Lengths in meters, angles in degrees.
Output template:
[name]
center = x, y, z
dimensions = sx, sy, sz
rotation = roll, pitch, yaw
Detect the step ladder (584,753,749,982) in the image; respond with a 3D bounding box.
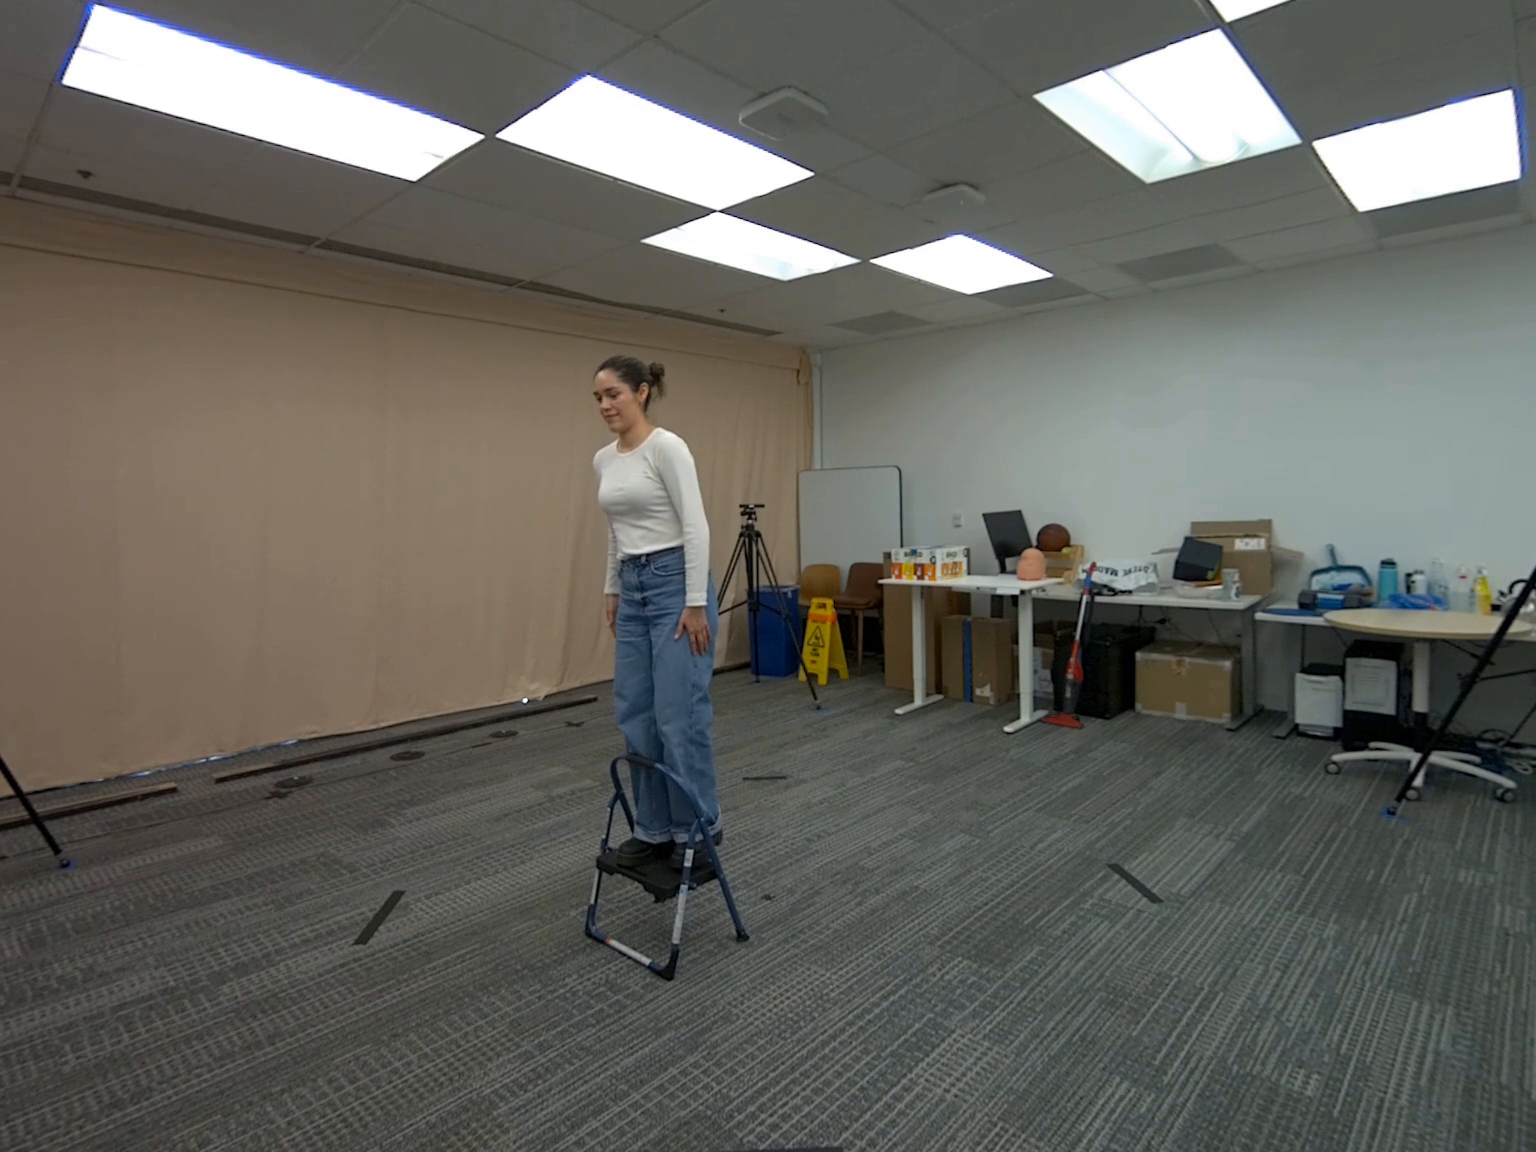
[step ladder]
center = -0.338, 0.867, 2.714
dimensions = 0.445, 0.605, 0.339
rotation = 2, 4, 42
